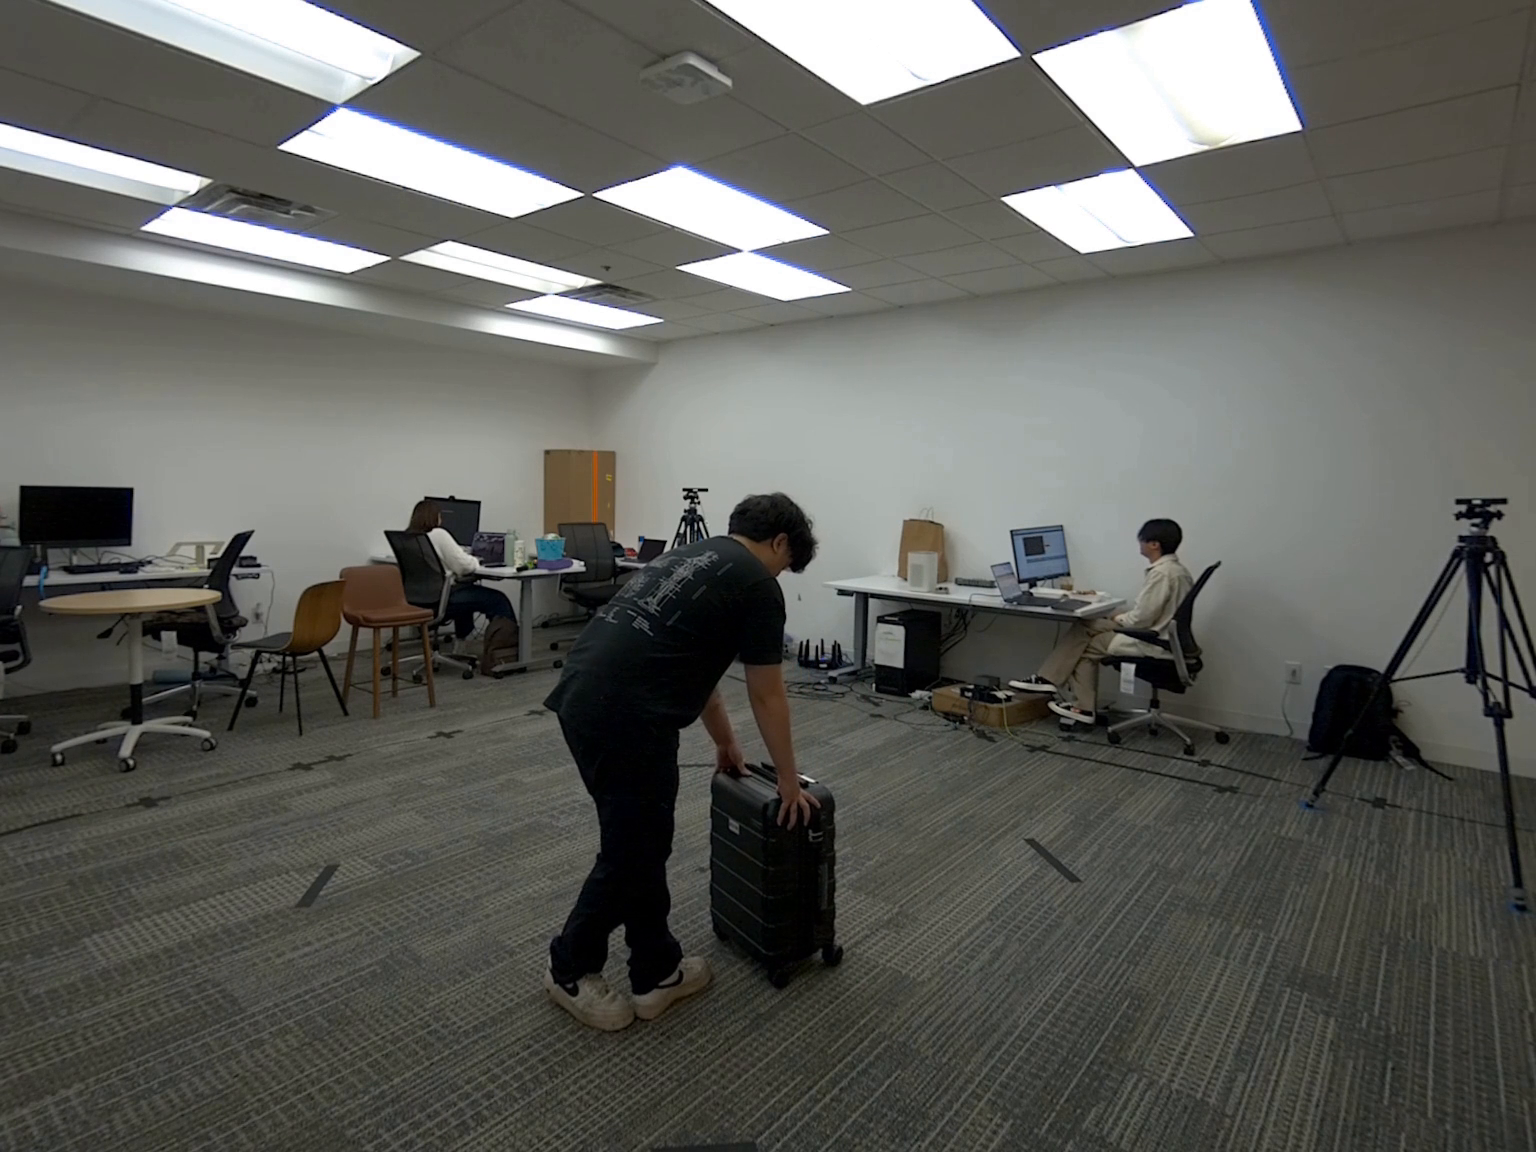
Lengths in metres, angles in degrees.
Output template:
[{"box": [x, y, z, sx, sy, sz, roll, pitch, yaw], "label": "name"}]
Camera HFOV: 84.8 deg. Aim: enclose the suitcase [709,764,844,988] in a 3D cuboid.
[{"box": [0.004, 0.854, 2.541, 0.241, 0.546, 0.388, -4, 7, -35], "label": "suitcase"}]
